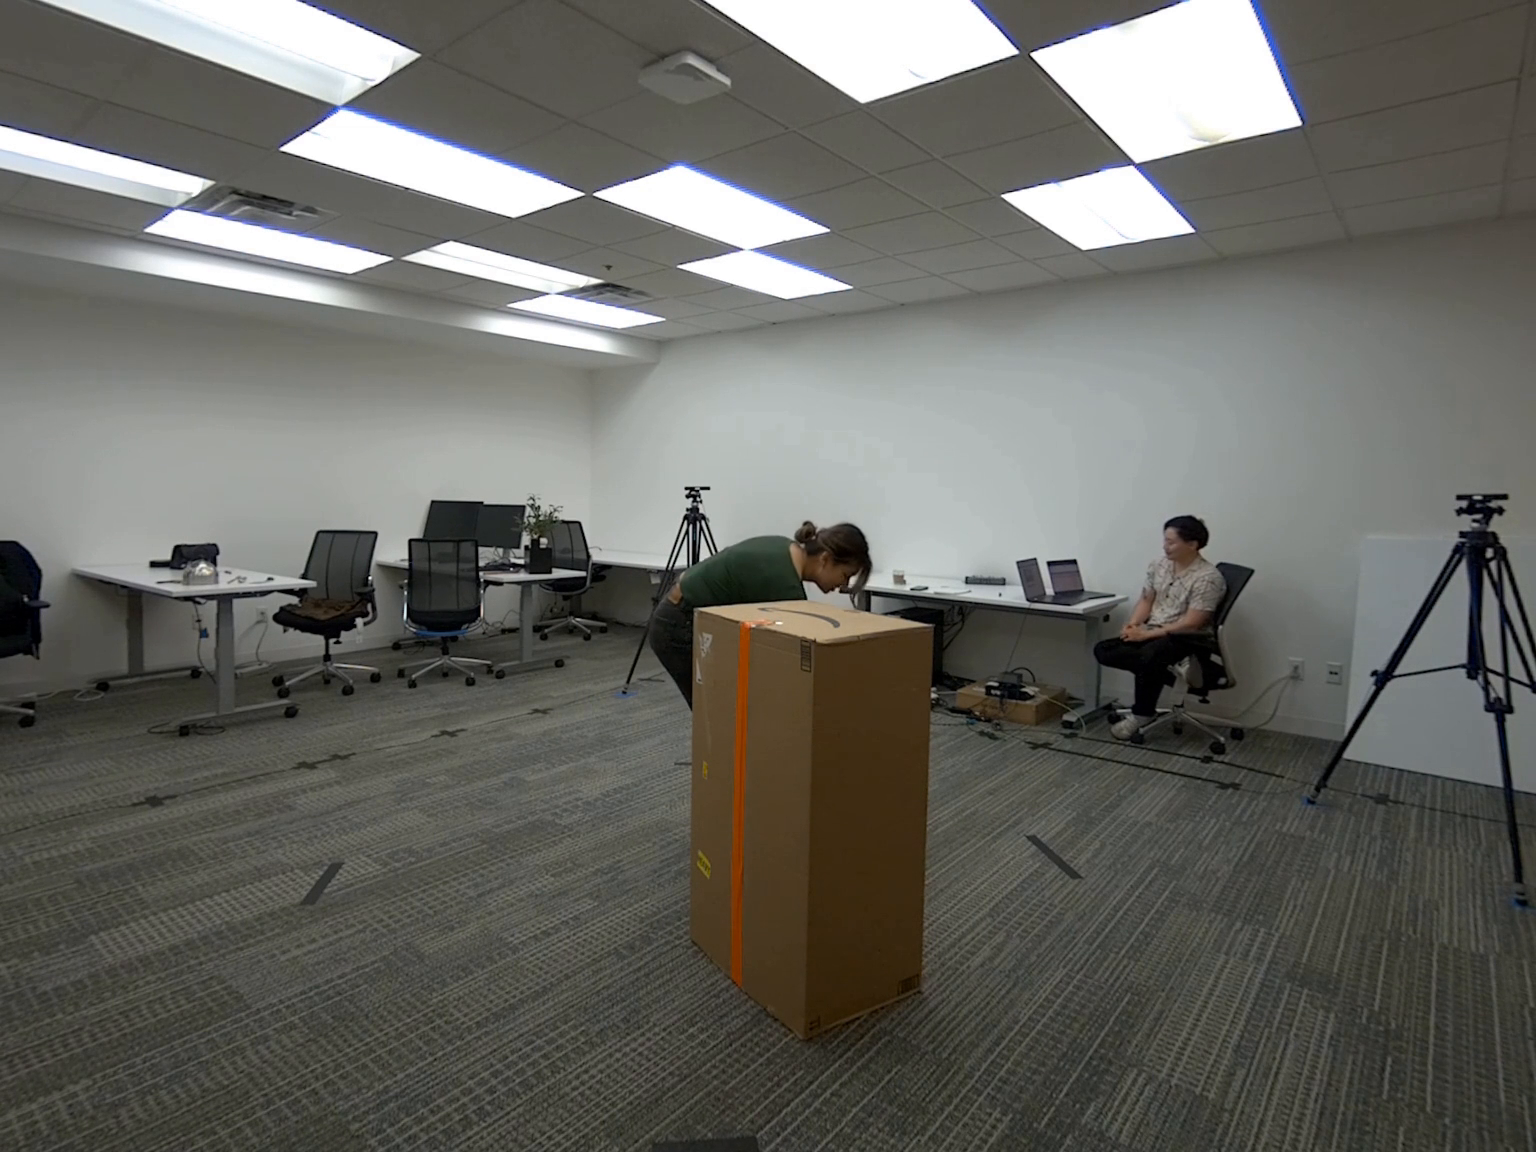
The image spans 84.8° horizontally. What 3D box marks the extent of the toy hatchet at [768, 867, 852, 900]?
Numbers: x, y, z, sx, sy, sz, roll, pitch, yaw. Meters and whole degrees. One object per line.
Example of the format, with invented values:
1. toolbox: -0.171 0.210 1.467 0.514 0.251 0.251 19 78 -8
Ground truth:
1. toy hatchet: 0.140 1.061 2.910 0.270 0.029 0.132 2 10 -1
